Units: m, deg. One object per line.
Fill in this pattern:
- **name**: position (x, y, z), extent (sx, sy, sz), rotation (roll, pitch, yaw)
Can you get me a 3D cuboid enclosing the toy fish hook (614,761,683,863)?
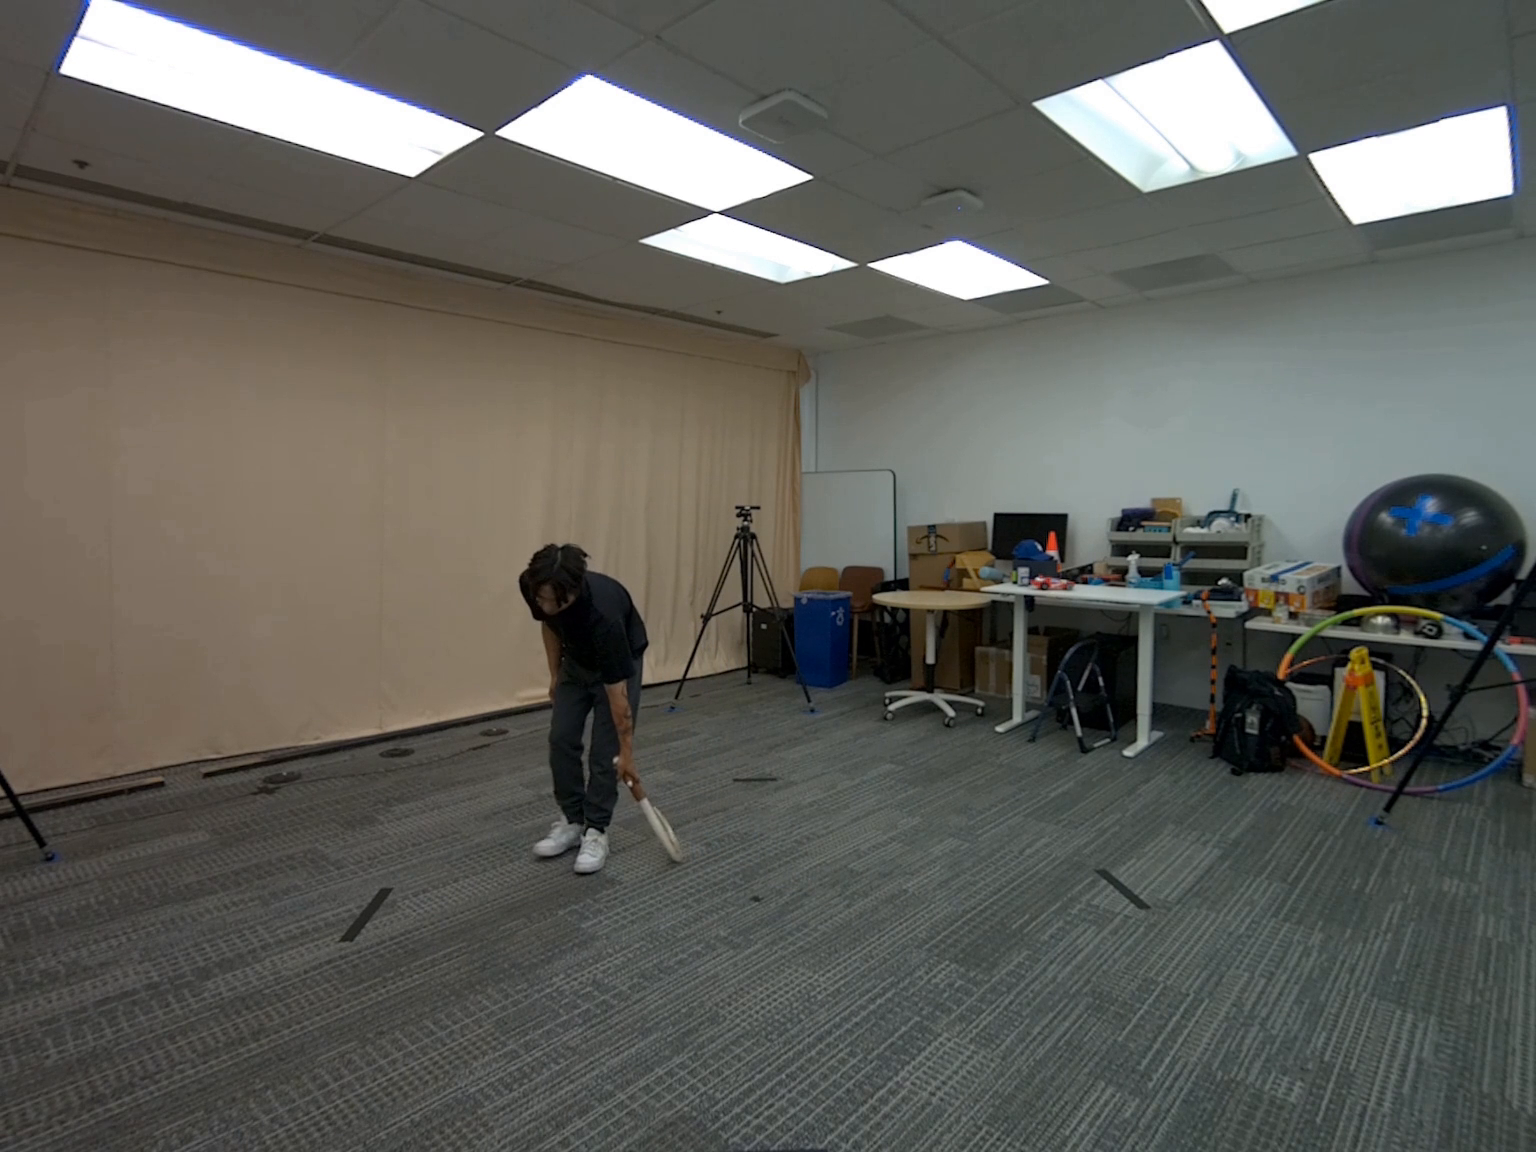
- **toy fish hook**: position (-0.475, 0.902, 3.305), extent (0.048, 0.501, 0.228), rotation (-29, 10, -8)
